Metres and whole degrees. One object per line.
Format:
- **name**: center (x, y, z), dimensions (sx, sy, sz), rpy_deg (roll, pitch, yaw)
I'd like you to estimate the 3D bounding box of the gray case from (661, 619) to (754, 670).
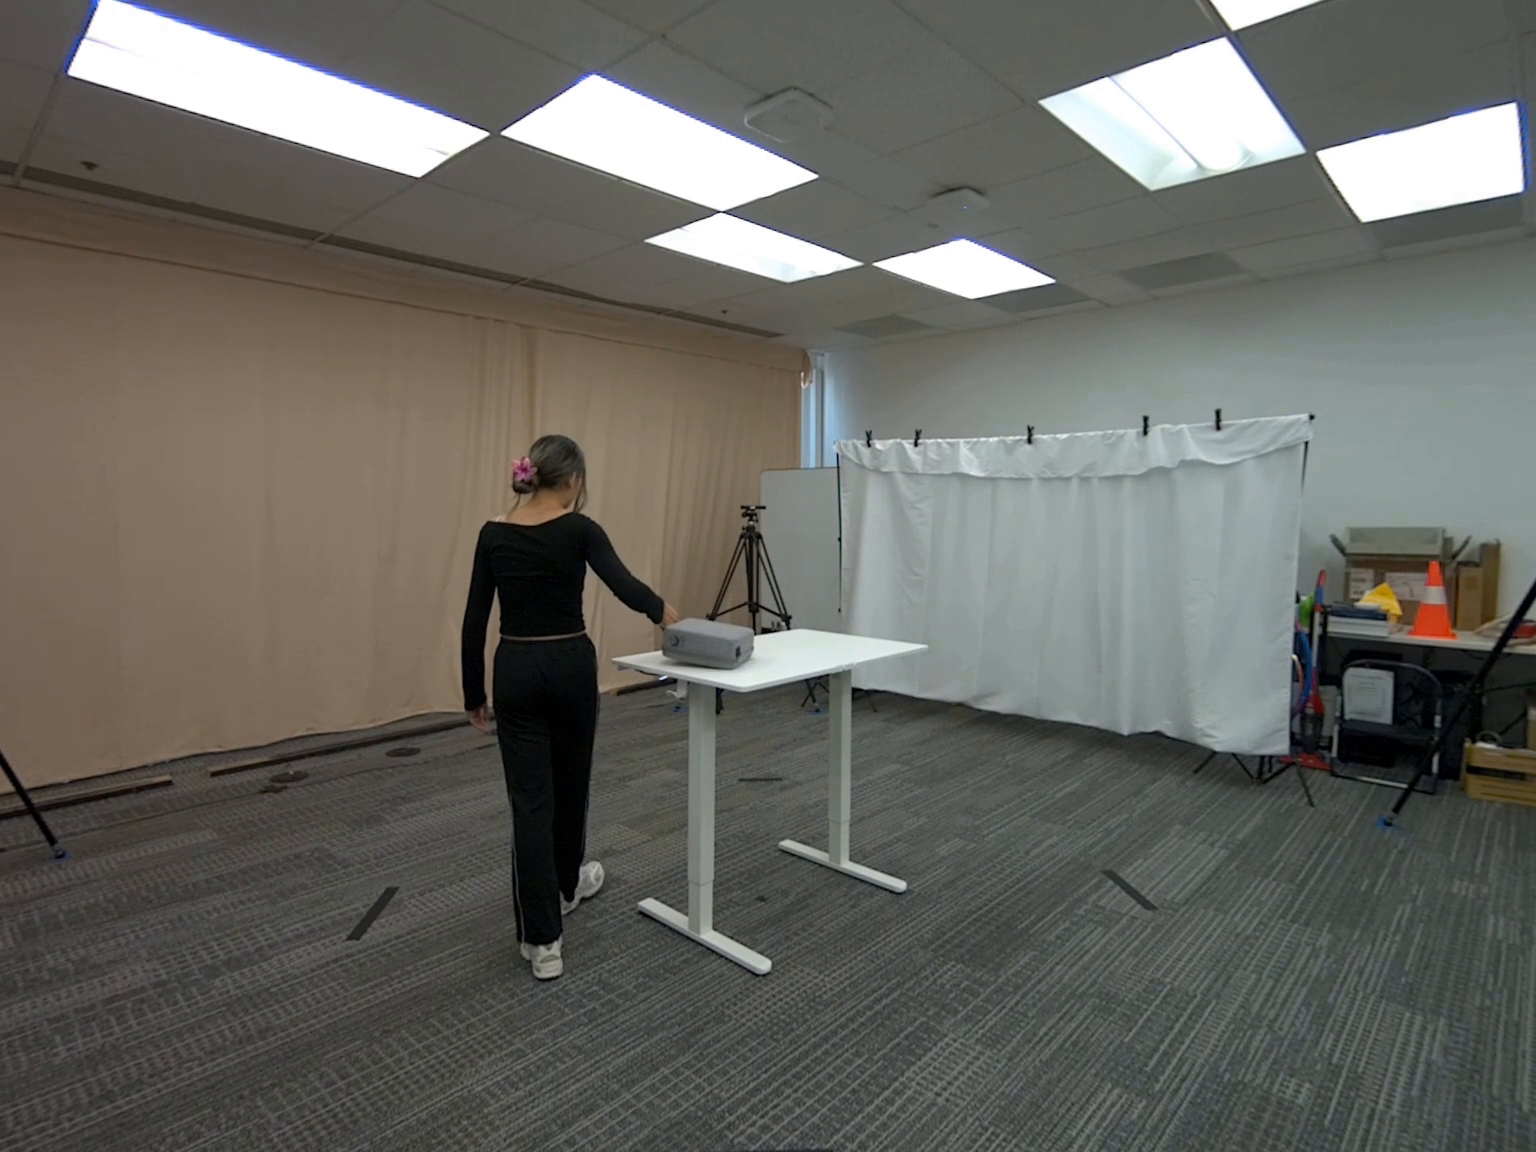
- **gray case**: center (-0.185, 0.217, 2.729), dimensions (0.266, 0.104, 0.253), rpy_deg (8, 7, 16)
